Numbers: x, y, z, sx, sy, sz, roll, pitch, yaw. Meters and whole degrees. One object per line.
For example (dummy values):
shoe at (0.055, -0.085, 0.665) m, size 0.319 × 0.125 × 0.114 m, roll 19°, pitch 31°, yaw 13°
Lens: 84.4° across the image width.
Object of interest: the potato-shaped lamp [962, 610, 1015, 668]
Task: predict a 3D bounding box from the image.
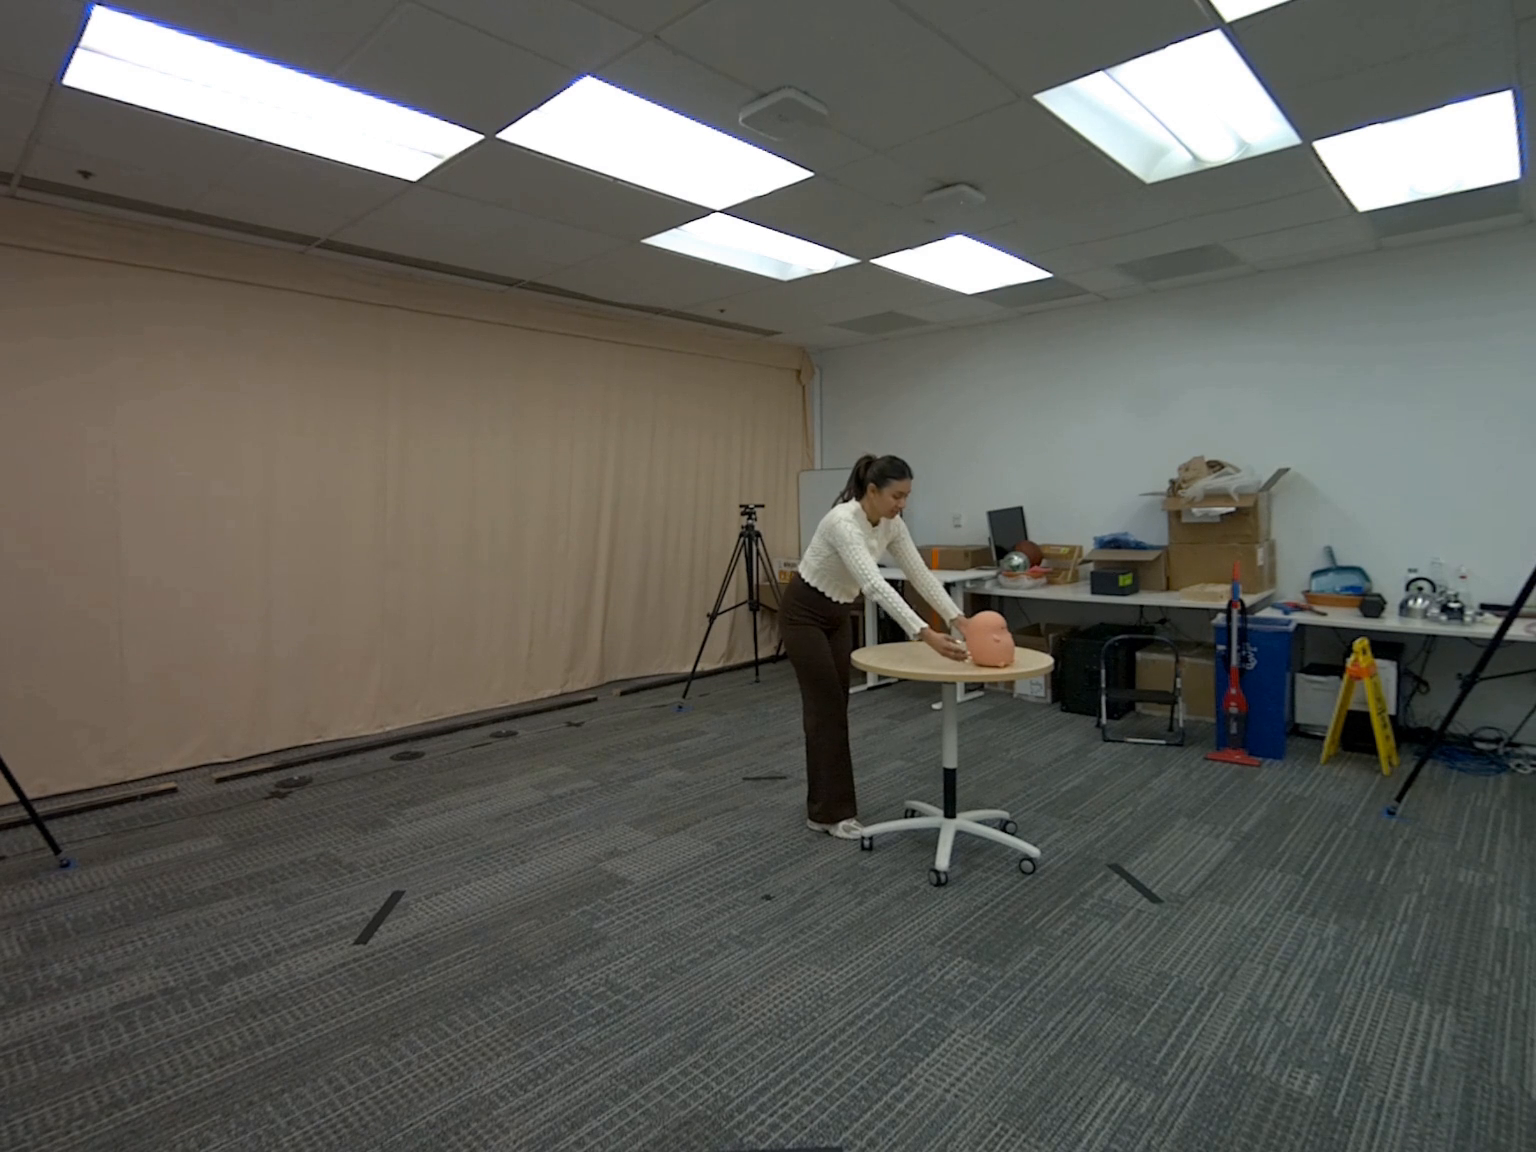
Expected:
potato-shaped lamp at (0.828, 0.233, 3.108) m, size 0.177 × 0.198 × 0.160 m, roll 1°, pitch 3°, yaw 36°
